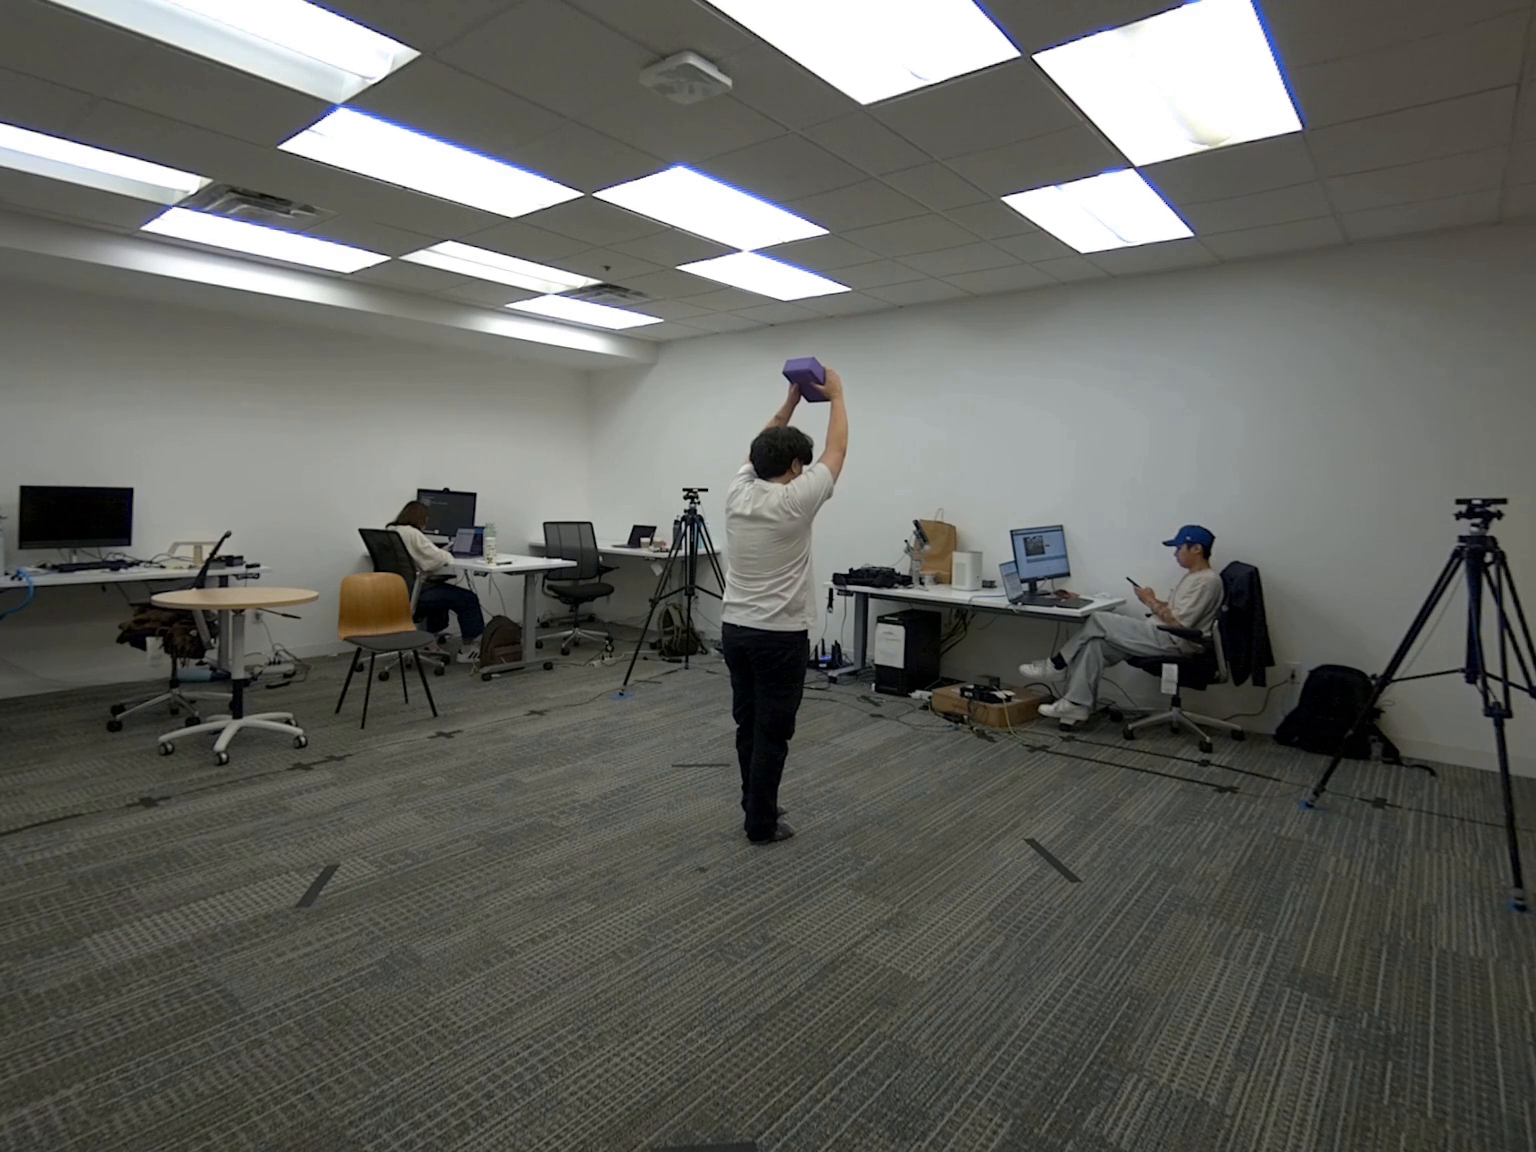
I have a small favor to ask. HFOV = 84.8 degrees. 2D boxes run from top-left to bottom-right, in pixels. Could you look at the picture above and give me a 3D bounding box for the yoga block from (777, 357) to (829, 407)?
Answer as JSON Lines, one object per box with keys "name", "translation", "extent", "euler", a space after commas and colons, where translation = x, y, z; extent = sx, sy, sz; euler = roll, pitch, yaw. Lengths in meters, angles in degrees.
{"name": "yoga block", "translation": [0.169, -0.819, 3.556], "extent": [0.154, 0.077, 0.220], "euler": [4, -24, 39]}
